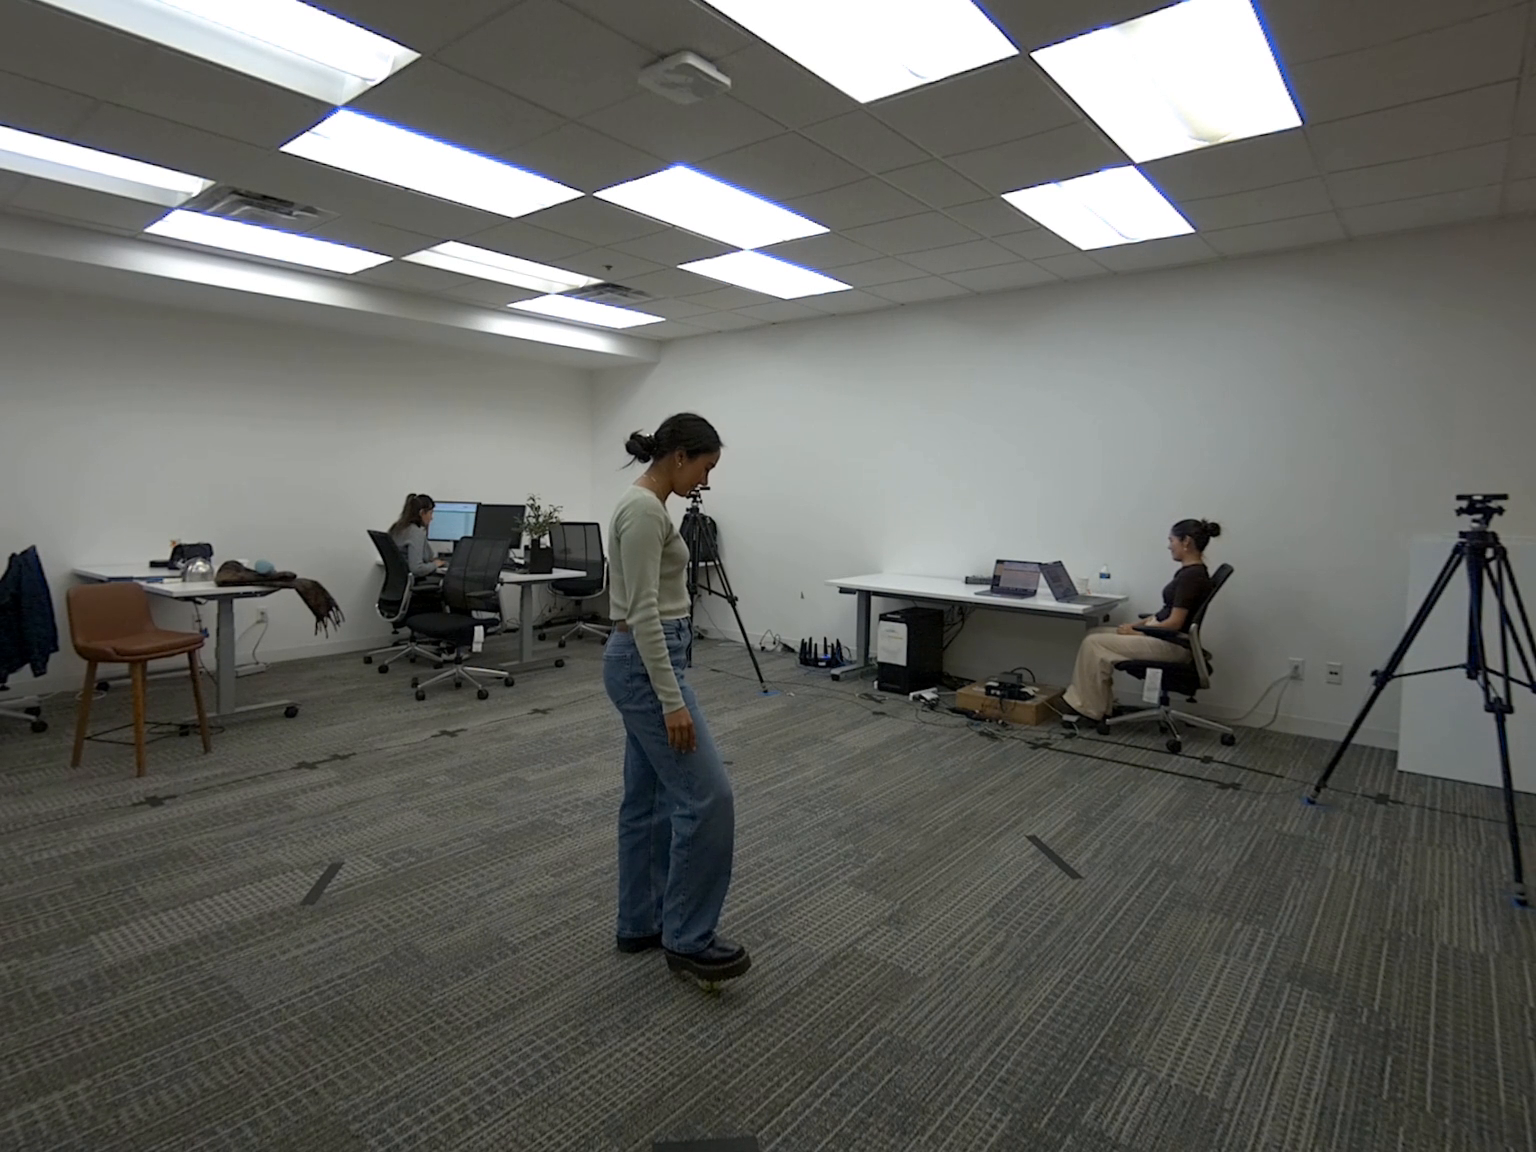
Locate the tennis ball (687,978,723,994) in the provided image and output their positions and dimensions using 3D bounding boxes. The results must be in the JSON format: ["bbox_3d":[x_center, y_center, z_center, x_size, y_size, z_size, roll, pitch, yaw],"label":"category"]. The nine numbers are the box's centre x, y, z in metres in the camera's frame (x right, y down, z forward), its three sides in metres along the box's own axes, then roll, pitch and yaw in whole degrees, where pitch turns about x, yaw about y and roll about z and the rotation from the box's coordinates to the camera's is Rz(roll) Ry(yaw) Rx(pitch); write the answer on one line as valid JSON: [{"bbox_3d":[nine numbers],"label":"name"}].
[{"bbox_3d":[-0.168,1.123,2.352,0.066,0.066,0.067,1,4,-2],"label":"tennis ball"}]
